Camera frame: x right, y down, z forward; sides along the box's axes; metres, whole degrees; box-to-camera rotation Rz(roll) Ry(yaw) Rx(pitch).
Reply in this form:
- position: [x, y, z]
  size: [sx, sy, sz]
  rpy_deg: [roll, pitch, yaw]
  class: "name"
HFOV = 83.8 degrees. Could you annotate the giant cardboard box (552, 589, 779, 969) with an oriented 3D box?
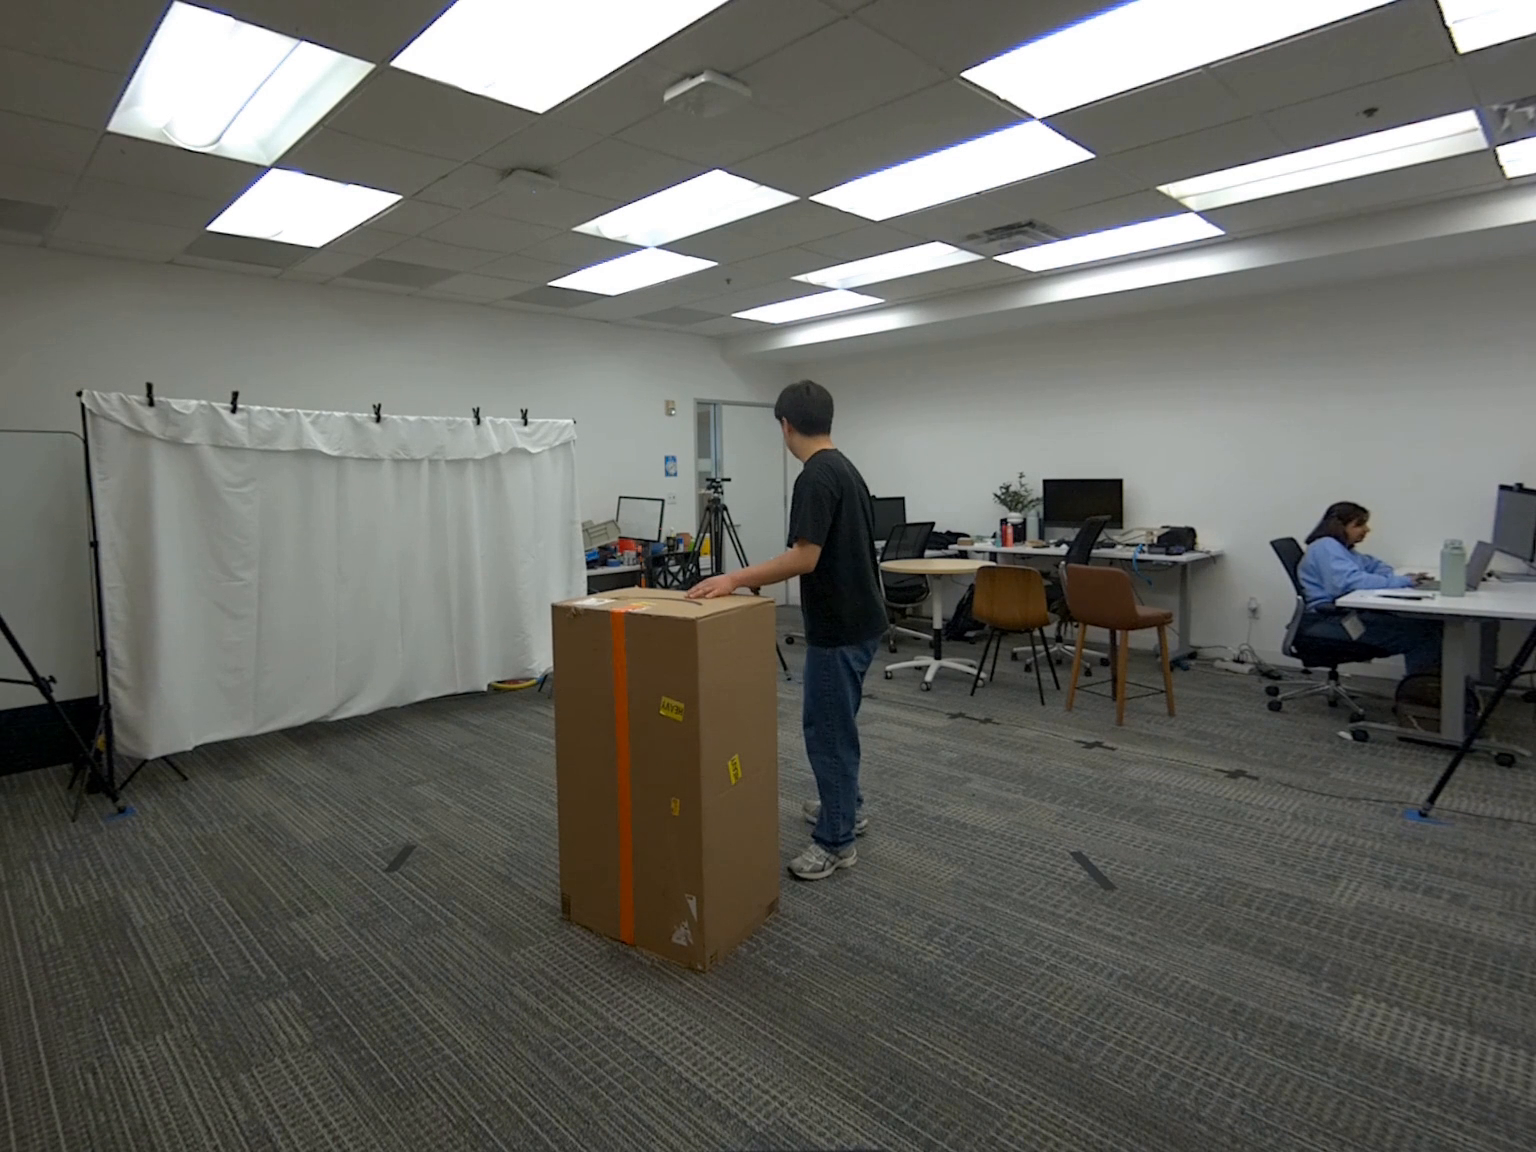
- position: [-0.321, 0.579, 2.713]
  size: [0.601, 1.022, 0.436]
  rpy_deg: [2, 6, 35]
  class: "giant cardboard box"
